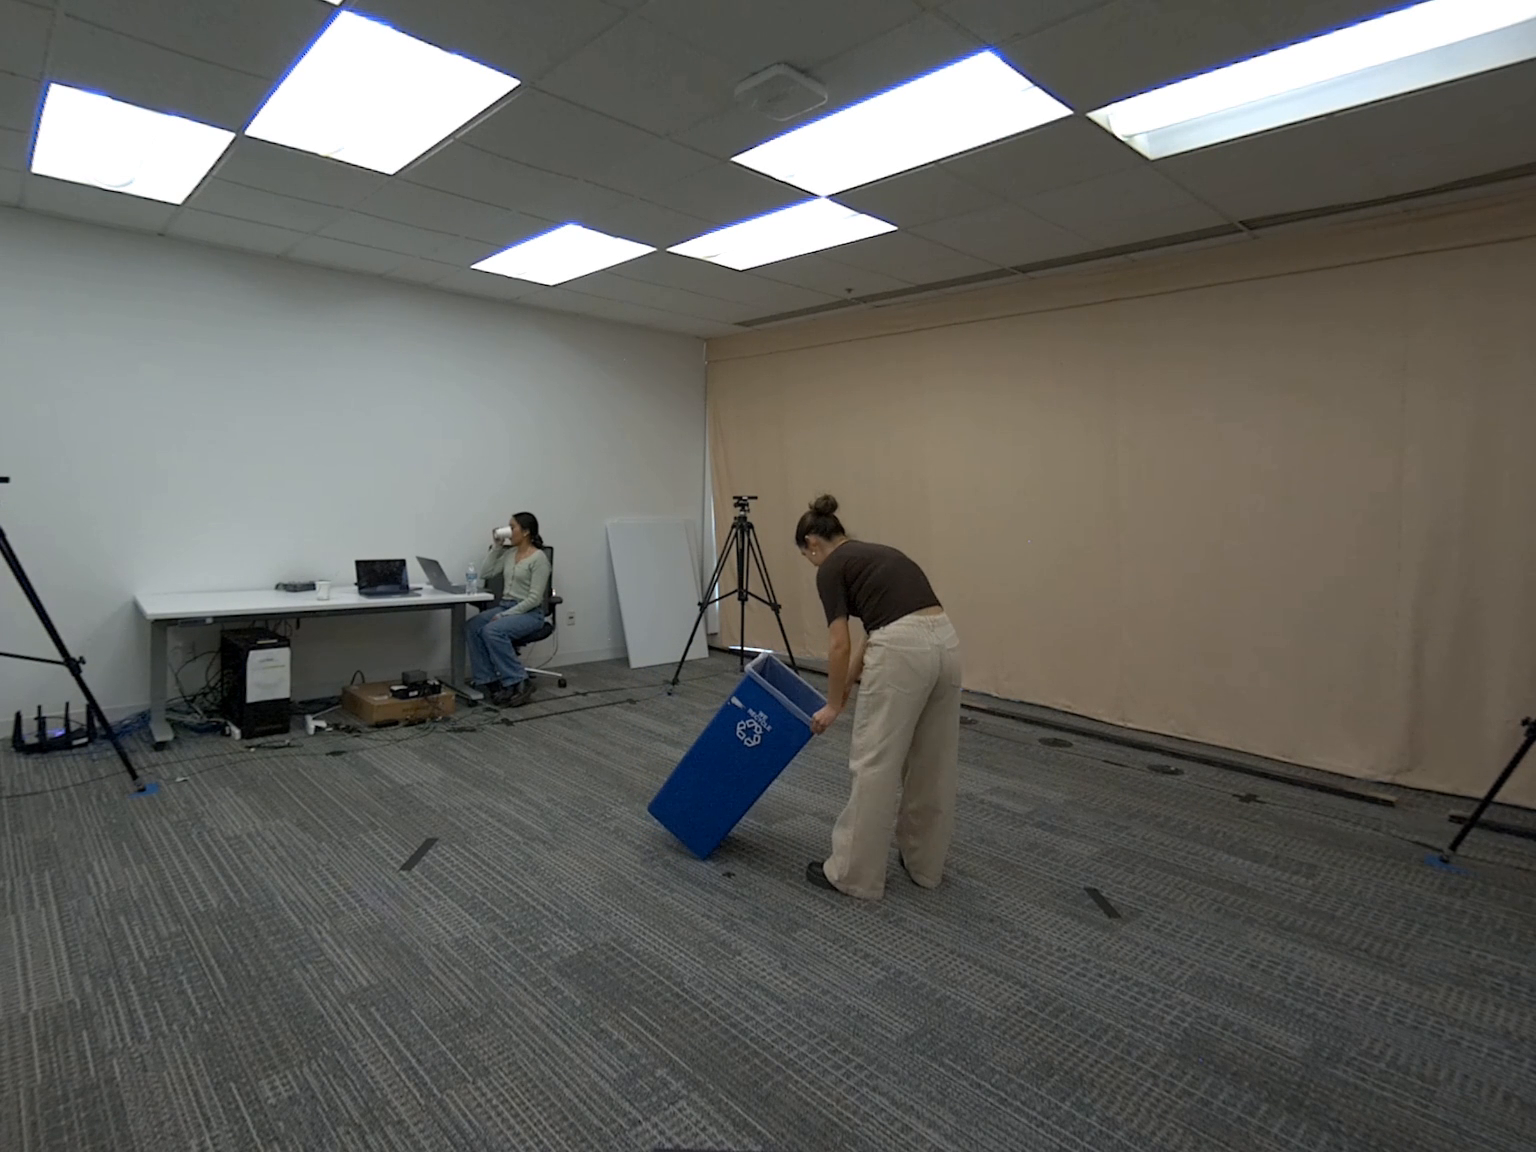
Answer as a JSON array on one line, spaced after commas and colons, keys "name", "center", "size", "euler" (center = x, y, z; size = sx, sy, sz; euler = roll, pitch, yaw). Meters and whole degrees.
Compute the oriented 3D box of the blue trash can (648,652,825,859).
[{"name": "blue trash can", "center": [-0.116, 0.713, 3.318], "size": [0.378, 0.712, 0.375], "euler": [38, 11, 8]}]
